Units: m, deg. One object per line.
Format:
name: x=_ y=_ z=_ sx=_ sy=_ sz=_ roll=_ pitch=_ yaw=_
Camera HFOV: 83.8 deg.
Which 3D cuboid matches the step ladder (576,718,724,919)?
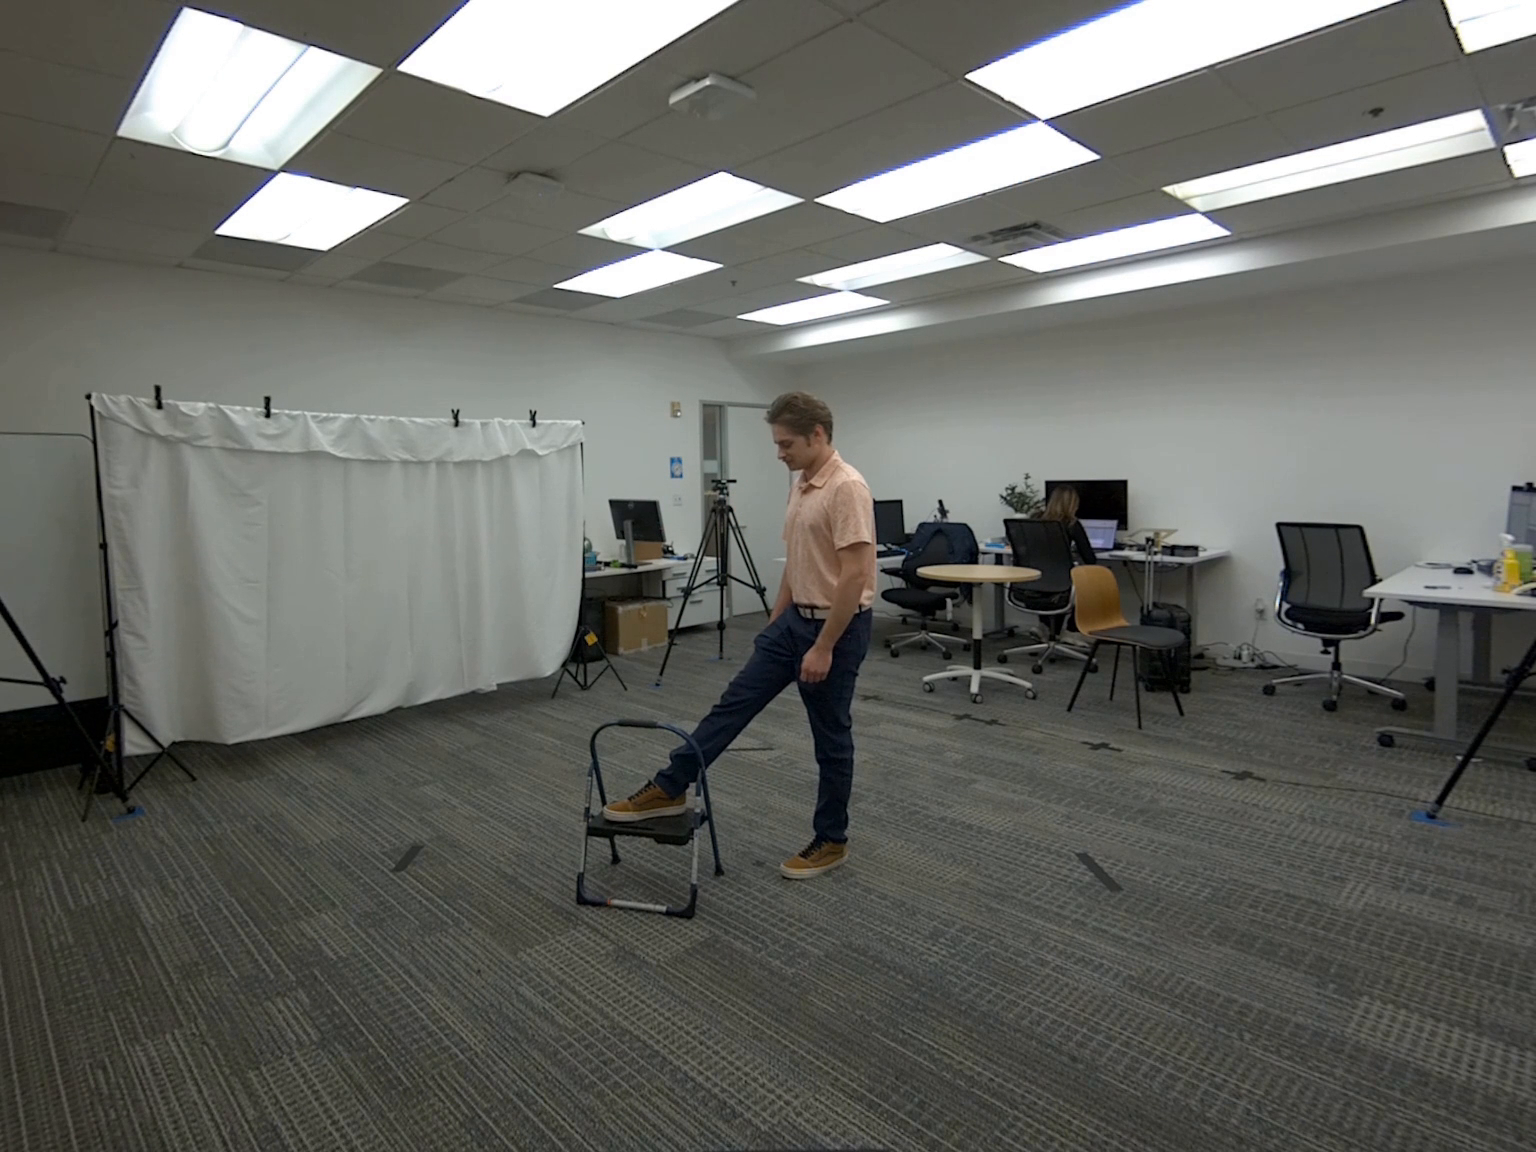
step ladder: x=-0.405 y=0.776 z=2.918 sx=0.437 sy=0.604 sz=0.346 roll=0 pitch=4 yaw=14
